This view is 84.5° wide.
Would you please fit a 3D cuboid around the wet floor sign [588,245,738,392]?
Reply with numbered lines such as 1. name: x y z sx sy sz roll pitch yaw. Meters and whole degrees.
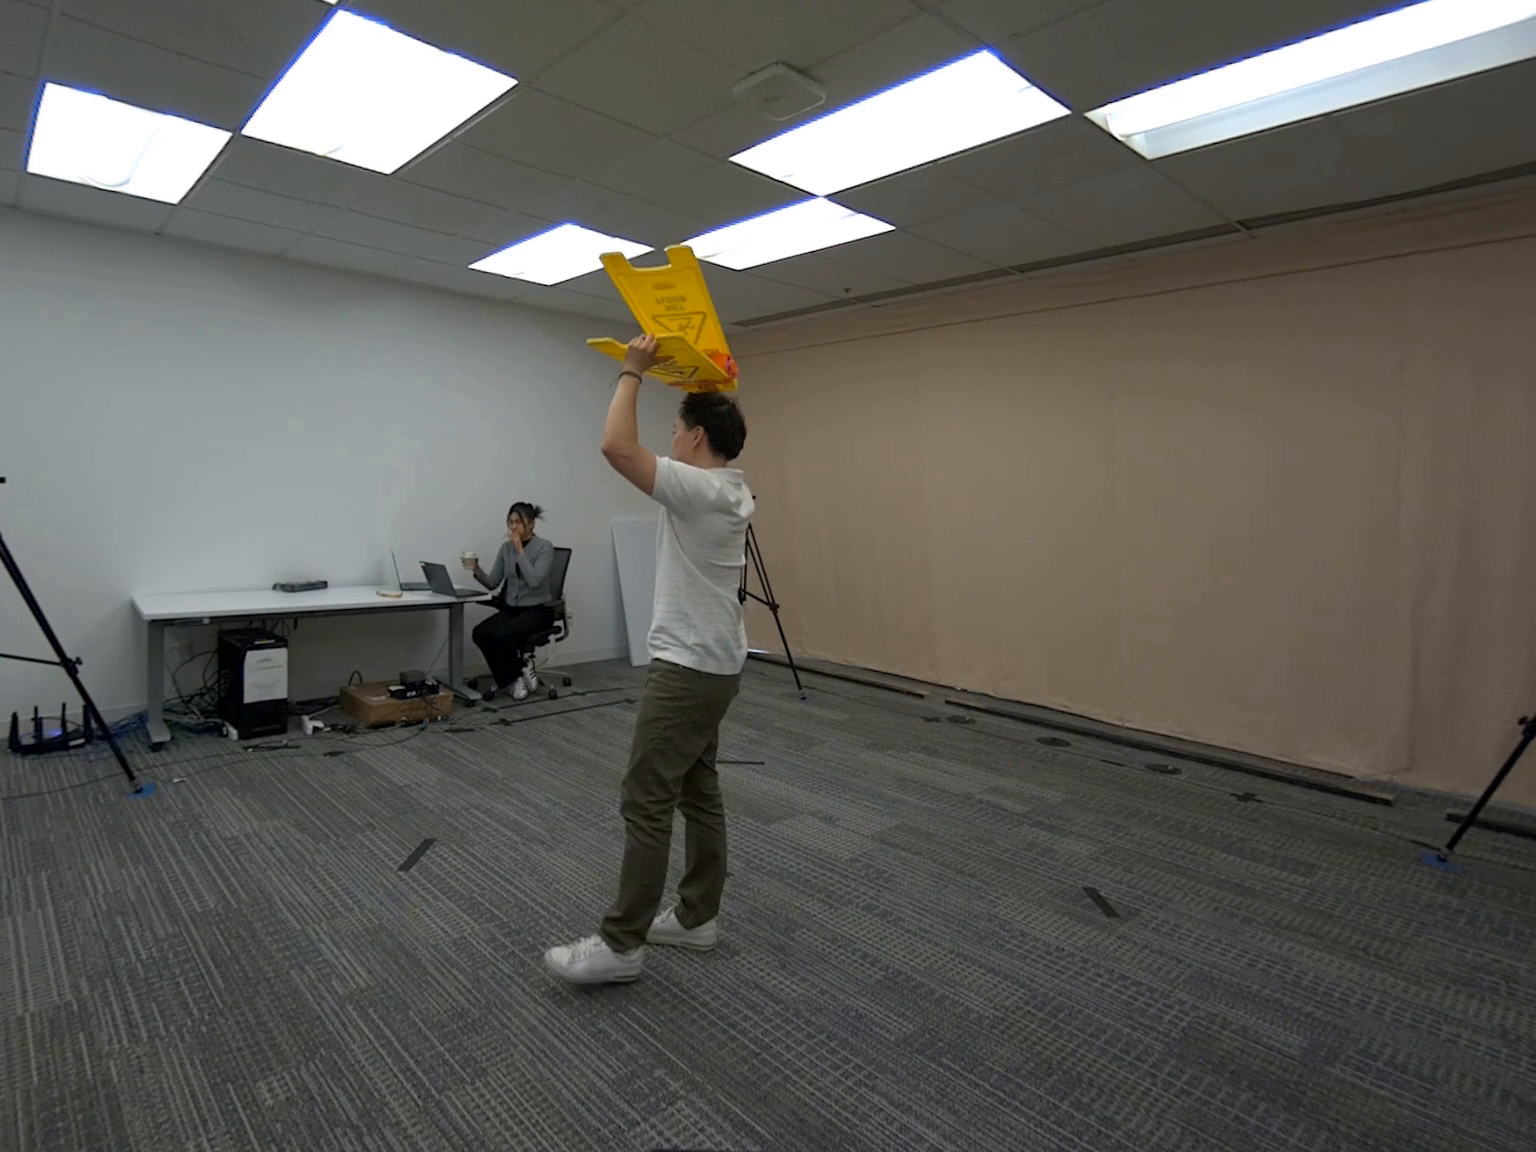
1. wet floor sign: -0.277 -0.703 2.582 0.286 0.292 0.632 0 -12 16
